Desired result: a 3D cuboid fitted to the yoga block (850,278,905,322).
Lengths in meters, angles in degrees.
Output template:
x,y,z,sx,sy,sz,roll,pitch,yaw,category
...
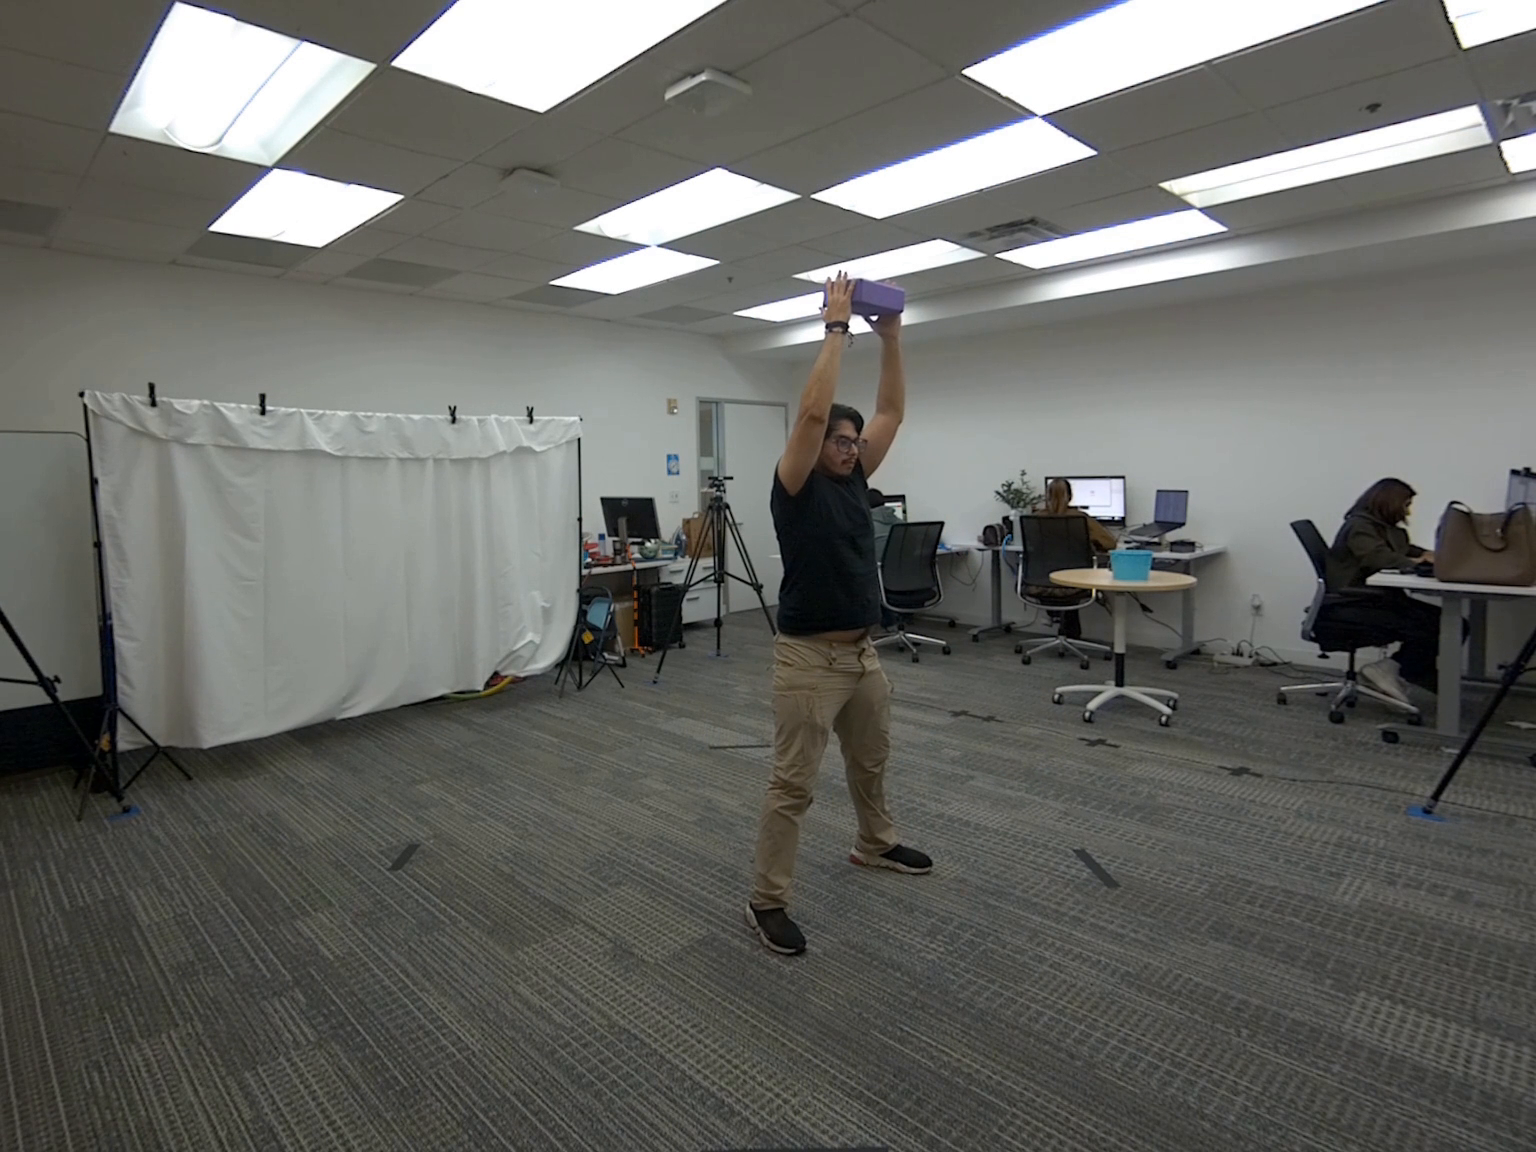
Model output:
x,y,z,sx,sy,sz,roll,pitch,yaw,category
0.286,-0.843,2.584,0.223,0.076,0.154,-6,13,-43,yoga block
